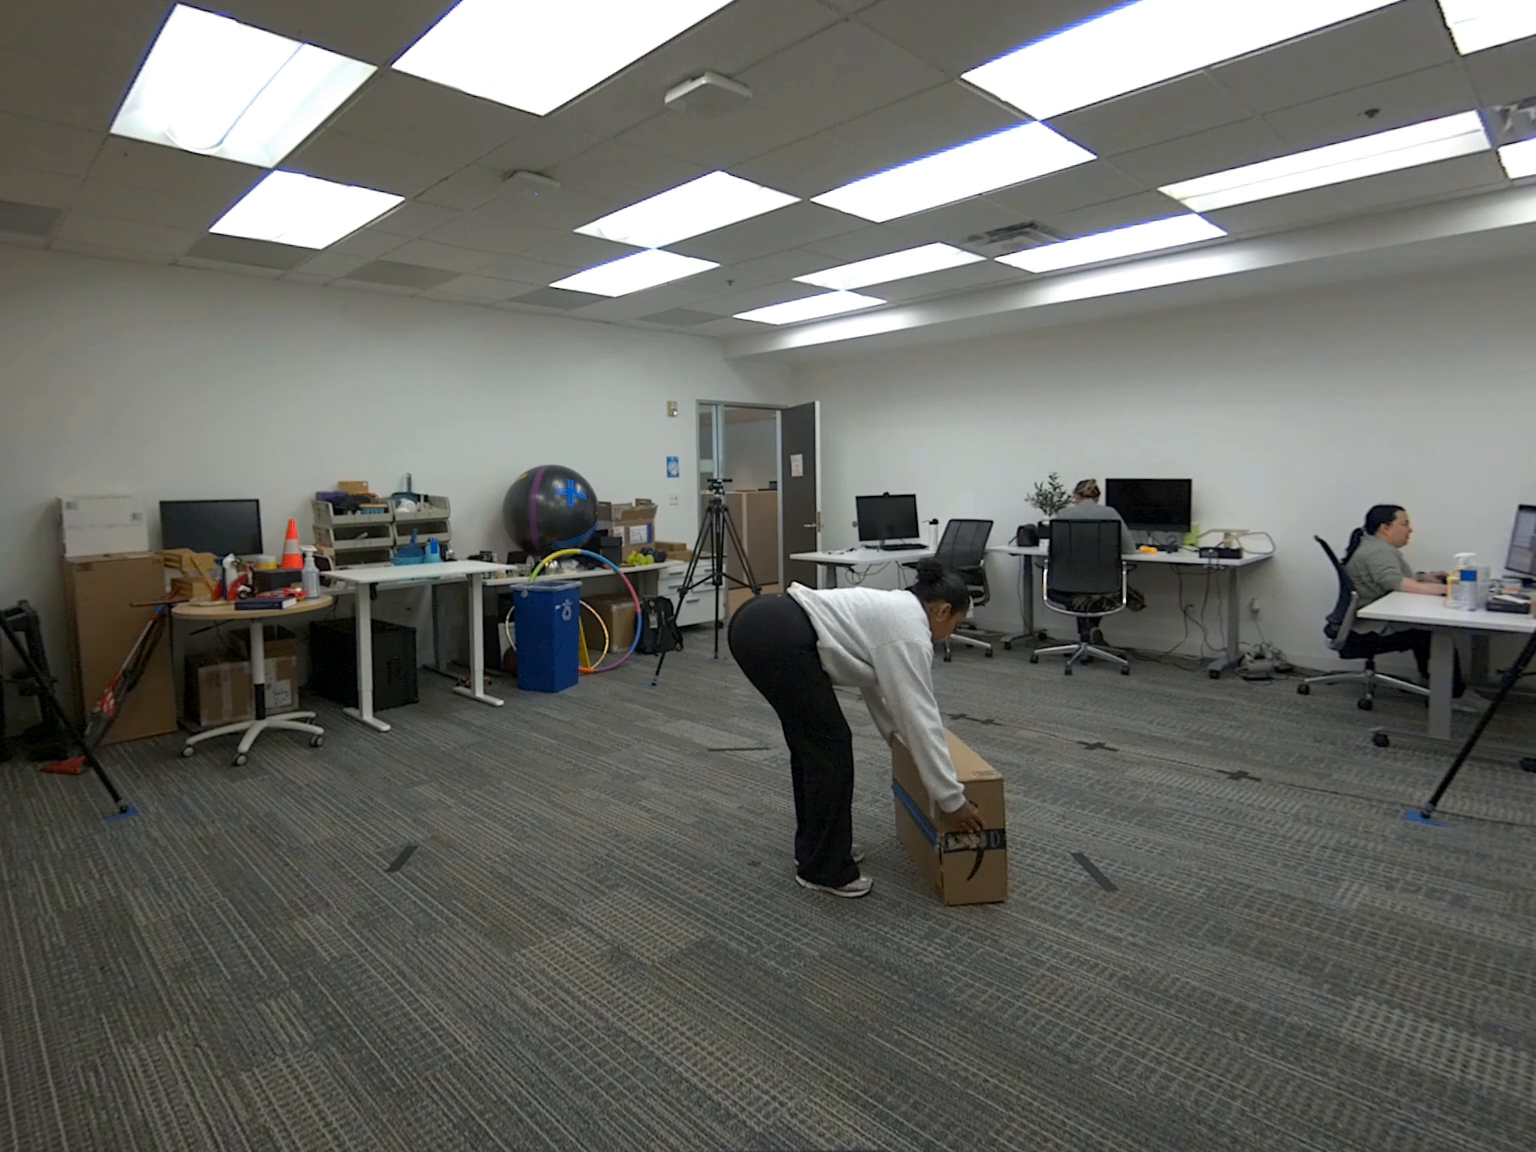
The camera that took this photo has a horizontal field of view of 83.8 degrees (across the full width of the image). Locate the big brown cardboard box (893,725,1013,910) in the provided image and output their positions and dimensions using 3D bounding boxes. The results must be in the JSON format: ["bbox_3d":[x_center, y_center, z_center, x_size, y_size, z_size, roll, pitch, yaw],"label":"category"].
[{"bbox_3d":[0.632,0.823,3.035,0.233,0.416,0.592,-5,5,-3],"label":"big brown cardboard box"}]
